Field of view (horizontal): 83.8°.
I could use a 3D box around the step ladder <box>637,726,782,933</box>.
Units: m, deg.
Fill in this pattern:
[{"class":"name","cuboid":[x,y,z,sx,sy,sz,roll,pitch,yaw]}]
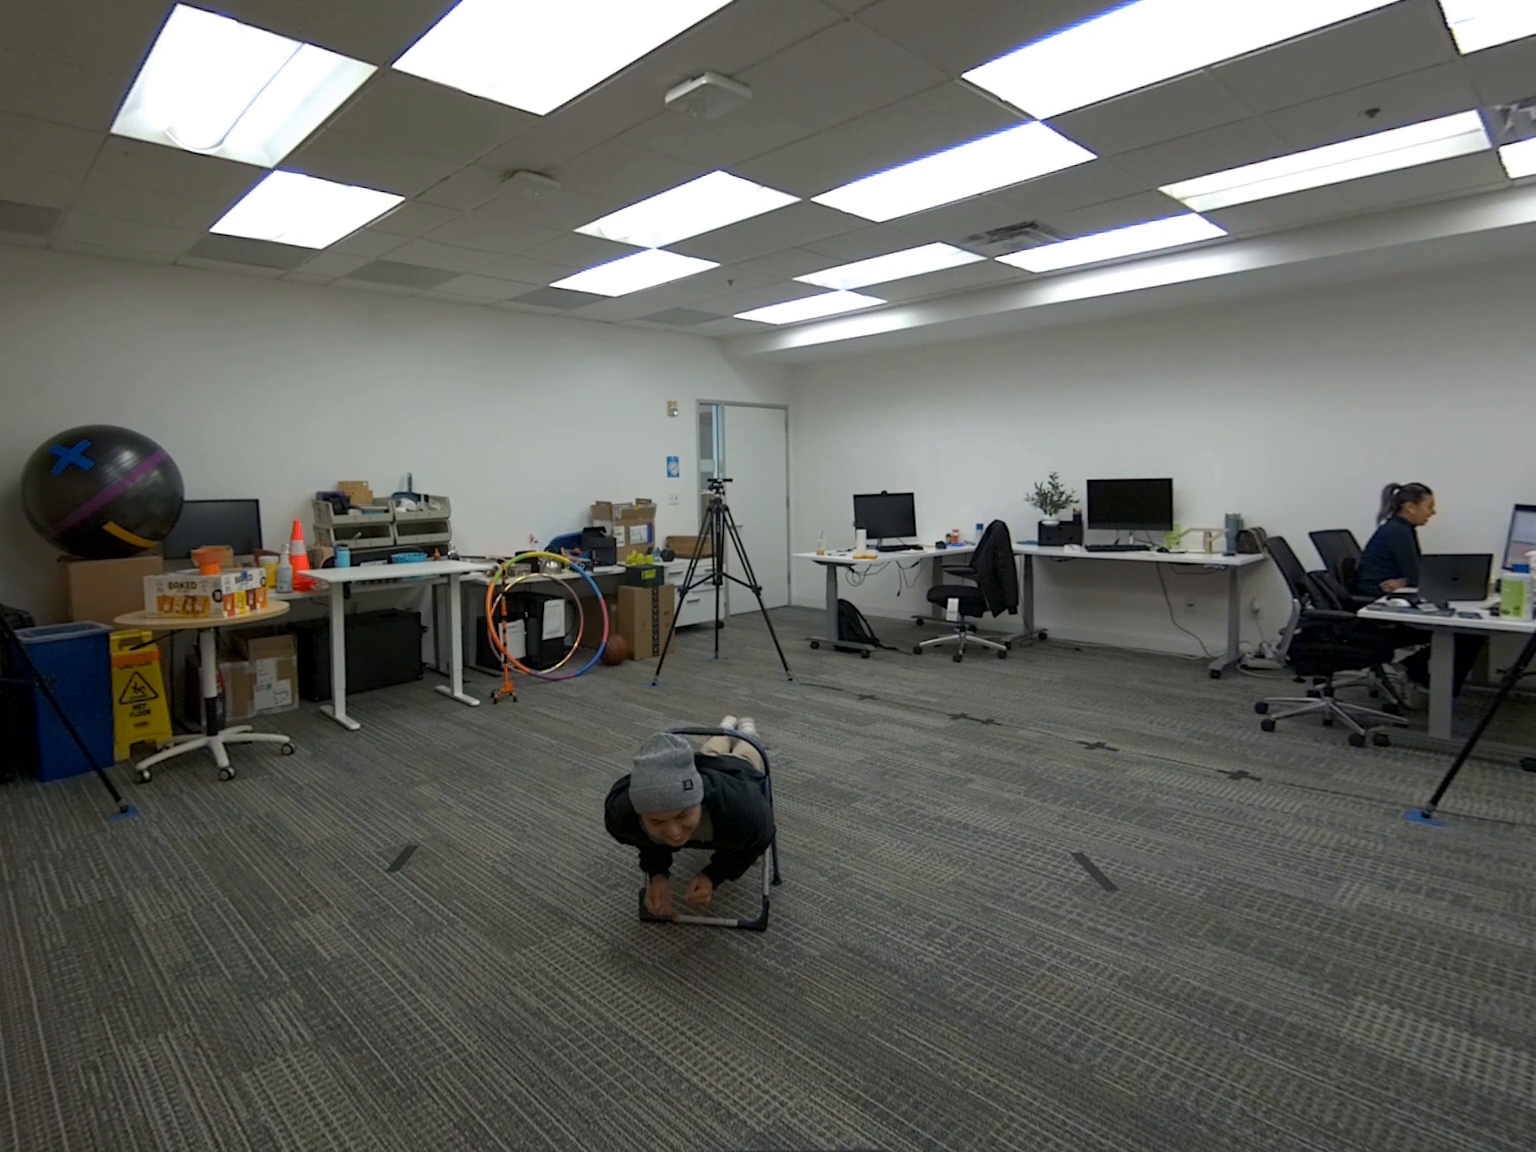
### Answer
[{"class":"step ladder","cuboid":[-0.182,0.789,2.820,0.435,0.604,0.347,0,5,9]}]
